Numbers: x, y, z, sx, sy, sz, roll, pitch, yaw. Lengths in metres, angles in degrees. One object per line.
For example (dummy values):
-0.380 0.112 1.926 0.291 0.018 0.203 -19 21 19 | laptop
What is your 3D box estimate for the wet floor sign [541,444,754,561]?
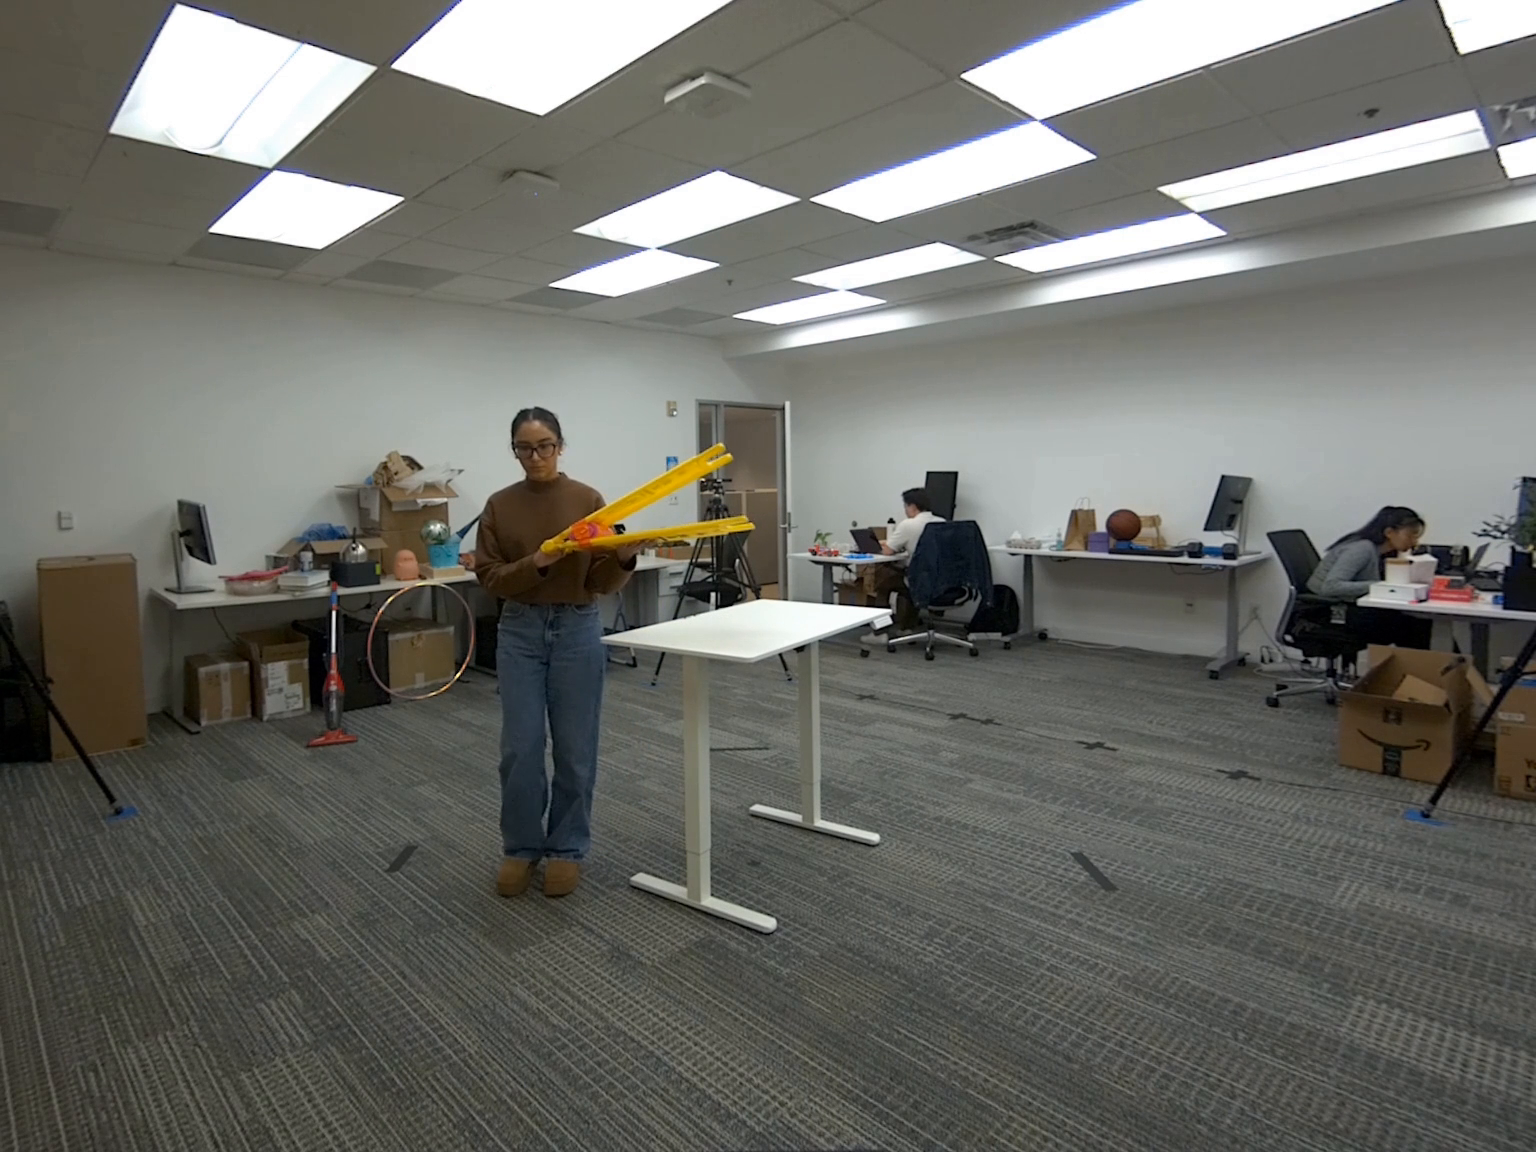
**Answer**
-0.400 -0.177 2.709 0.647 0.292 0.279 -16 -5 3 | wet floor sign
